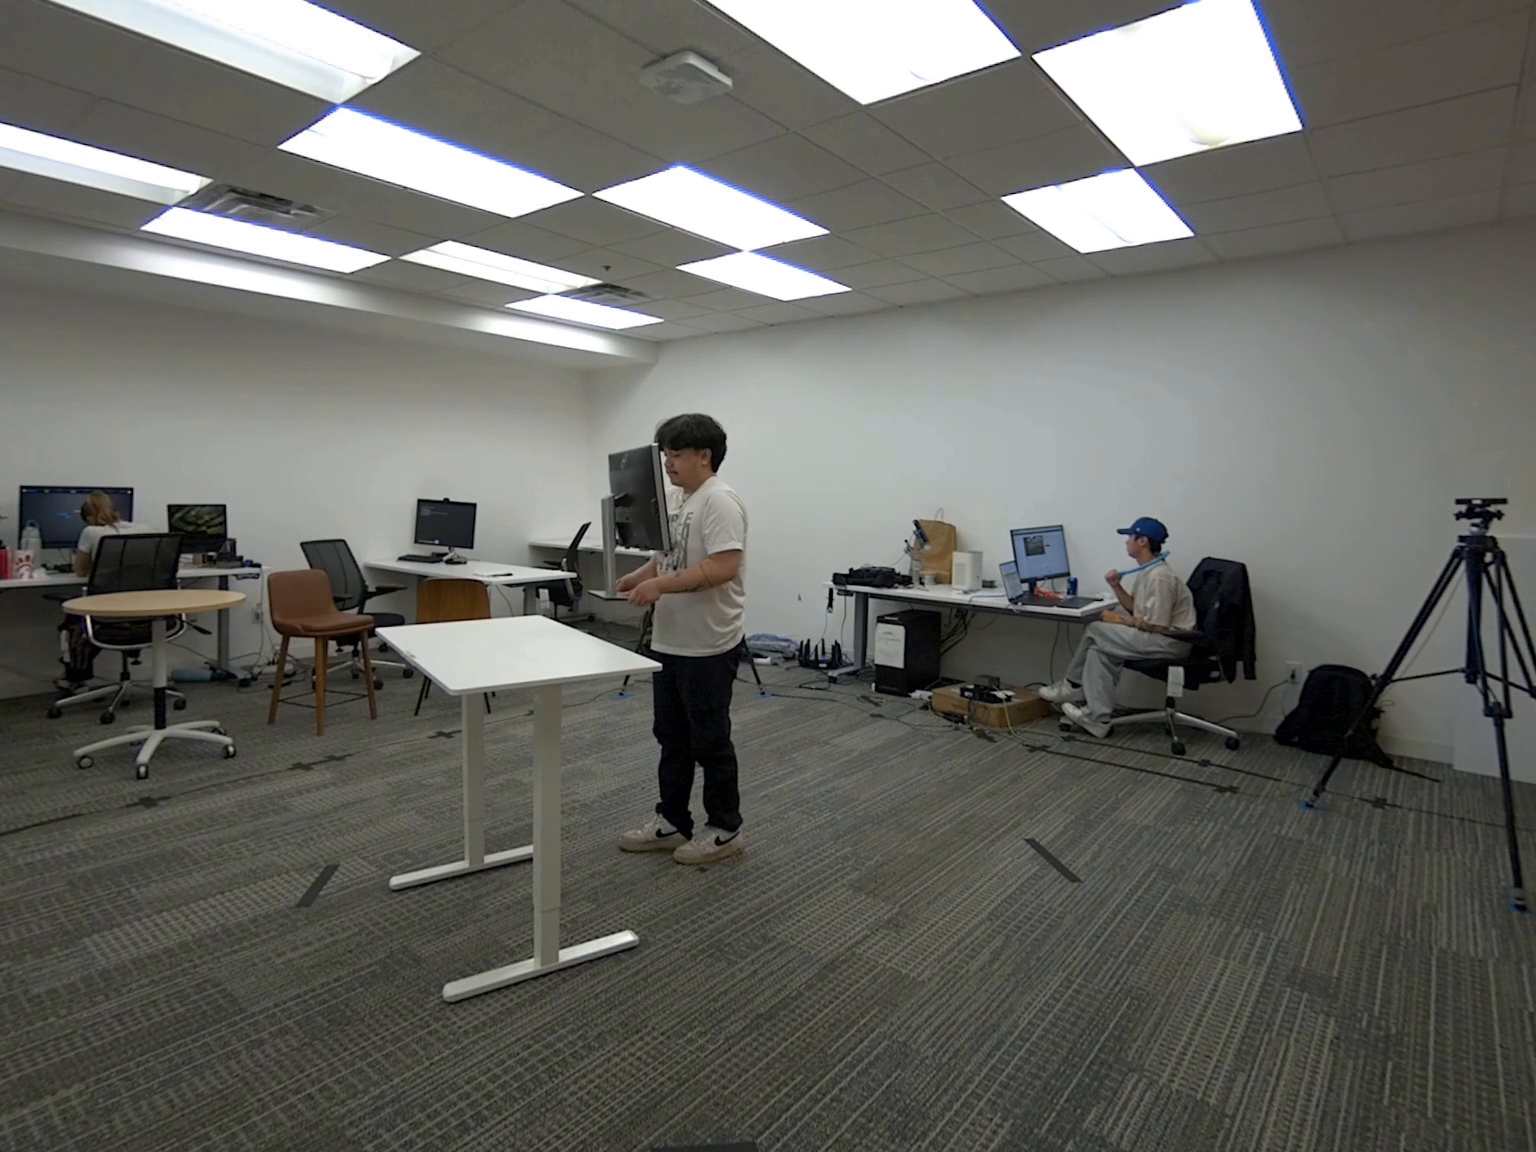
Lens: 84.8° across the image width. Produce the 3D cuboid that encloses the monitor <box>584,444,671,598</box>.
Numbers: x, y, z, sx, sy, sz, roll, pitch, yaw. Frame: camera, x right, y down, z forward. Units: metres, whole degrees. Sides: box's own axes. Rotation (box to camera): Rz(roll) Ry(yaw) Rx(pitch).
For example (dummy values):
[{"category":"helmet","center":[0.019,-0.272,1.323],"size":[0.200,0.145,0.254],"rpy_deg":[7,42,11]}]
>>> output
[{"category":"monitor","center":[-0.547,-0.189,3.068],"size":[0.205,0.552,0.581],"rpy_deg":[-2,4,-26]}]
